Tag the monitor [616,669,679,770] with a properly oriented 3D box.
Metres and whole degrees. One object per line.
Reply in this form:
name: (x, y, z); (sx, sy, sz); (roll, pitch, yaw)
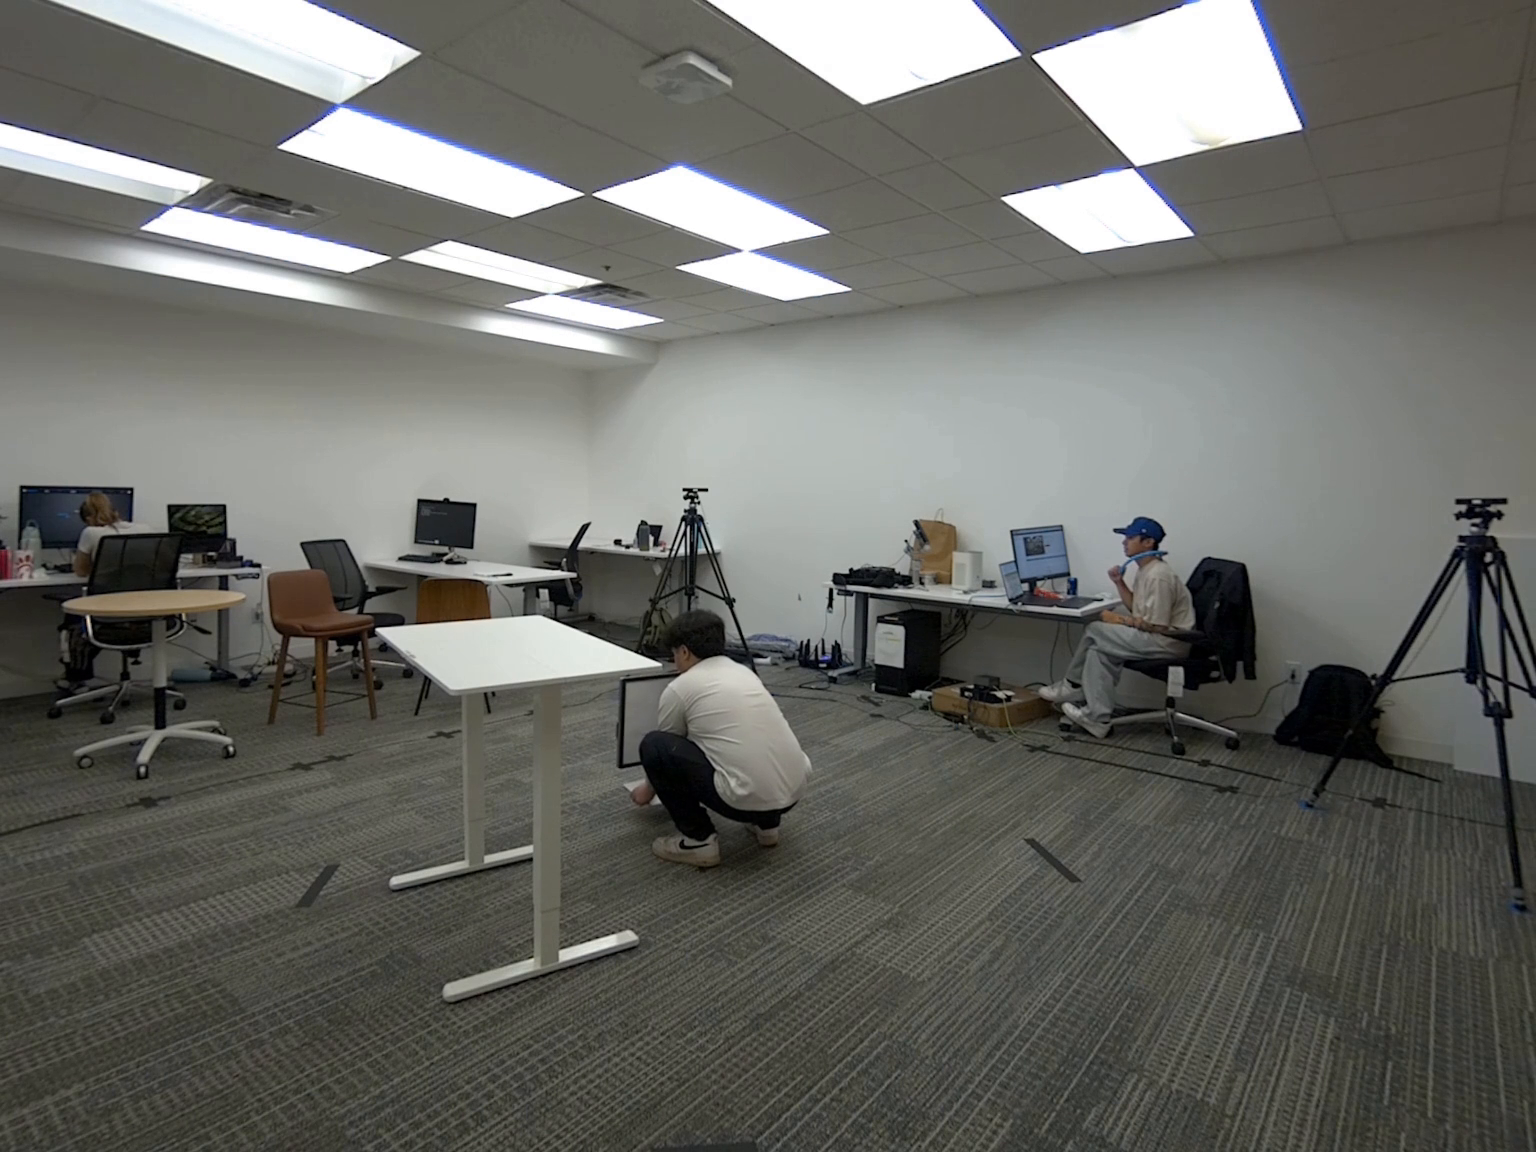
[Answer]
monitor: (-0.459, 0.665, 3.642); (0.548, 0.552, 0.218); (-1, 7, -43)
